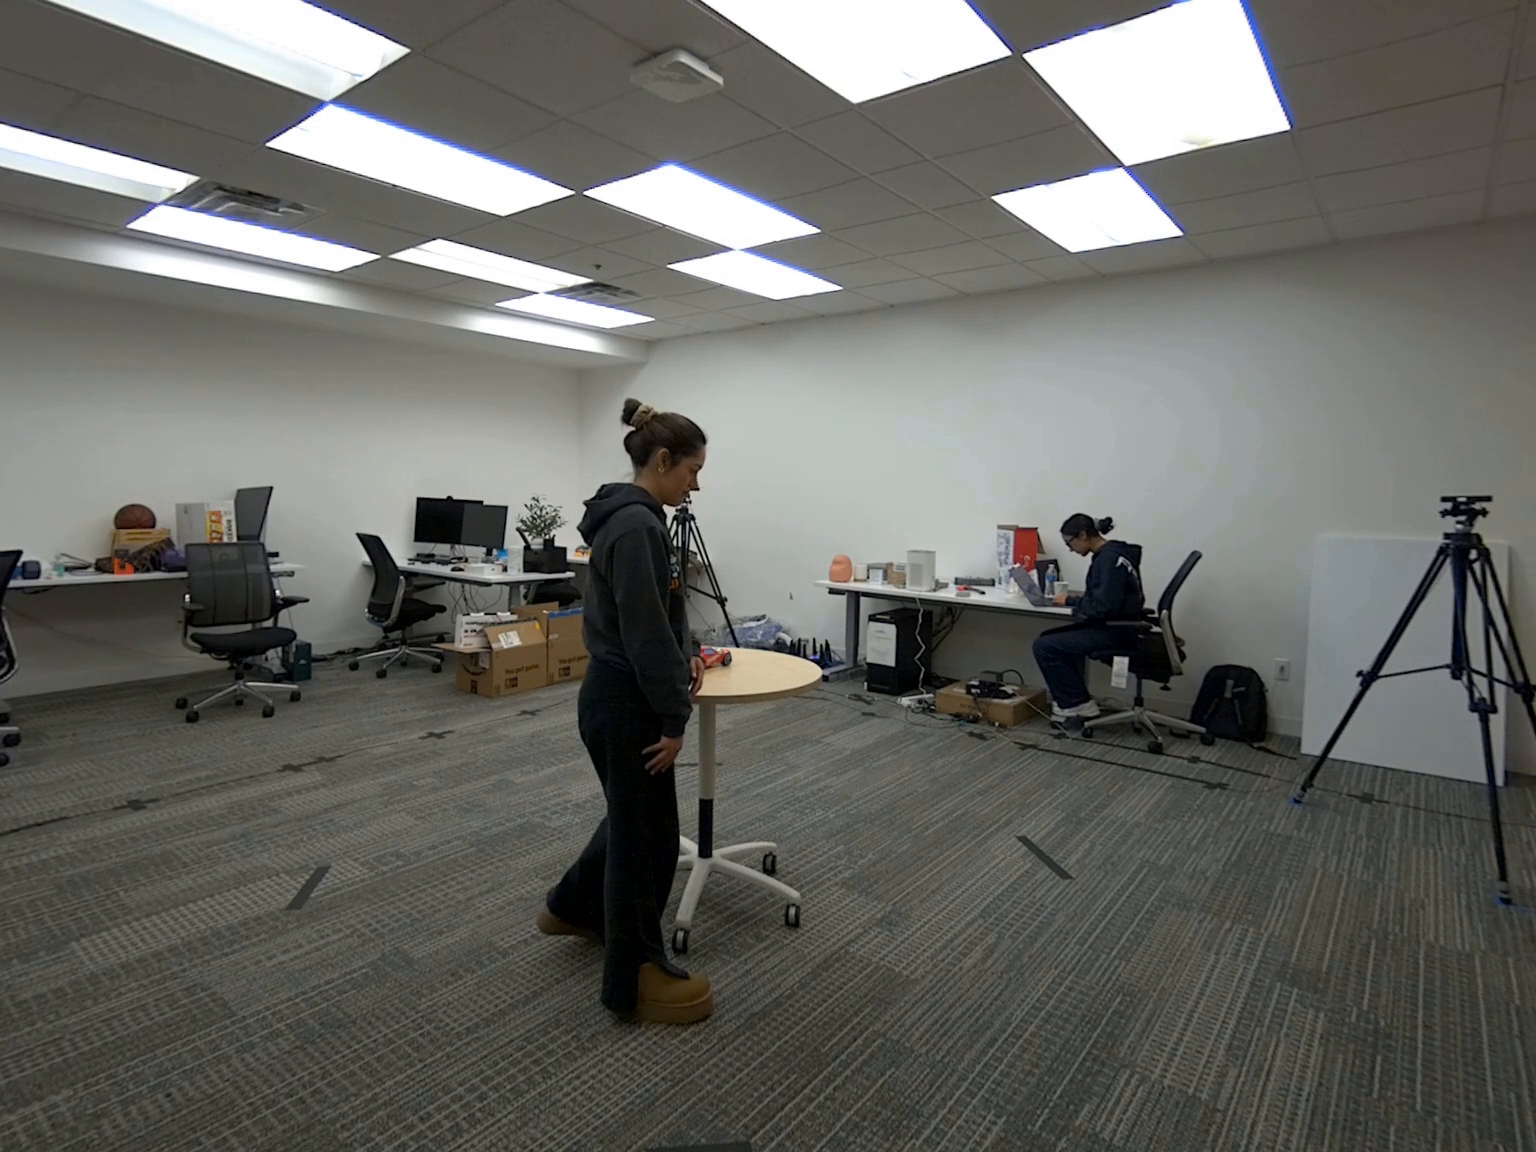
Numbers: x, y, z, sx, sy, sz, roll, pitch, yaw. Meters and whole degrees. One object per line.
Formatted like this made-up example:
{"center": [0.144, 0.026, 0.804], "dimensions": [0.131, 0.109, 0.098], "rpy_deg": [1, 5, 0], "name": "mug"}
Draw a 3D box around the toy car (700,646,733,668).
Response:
{"center": [-0.241, 0.278, 2.866], "dimensions": [0.134, 0.083, 0.245], "rpy_deg": [4, -4, 38], "name": "toy car"}
